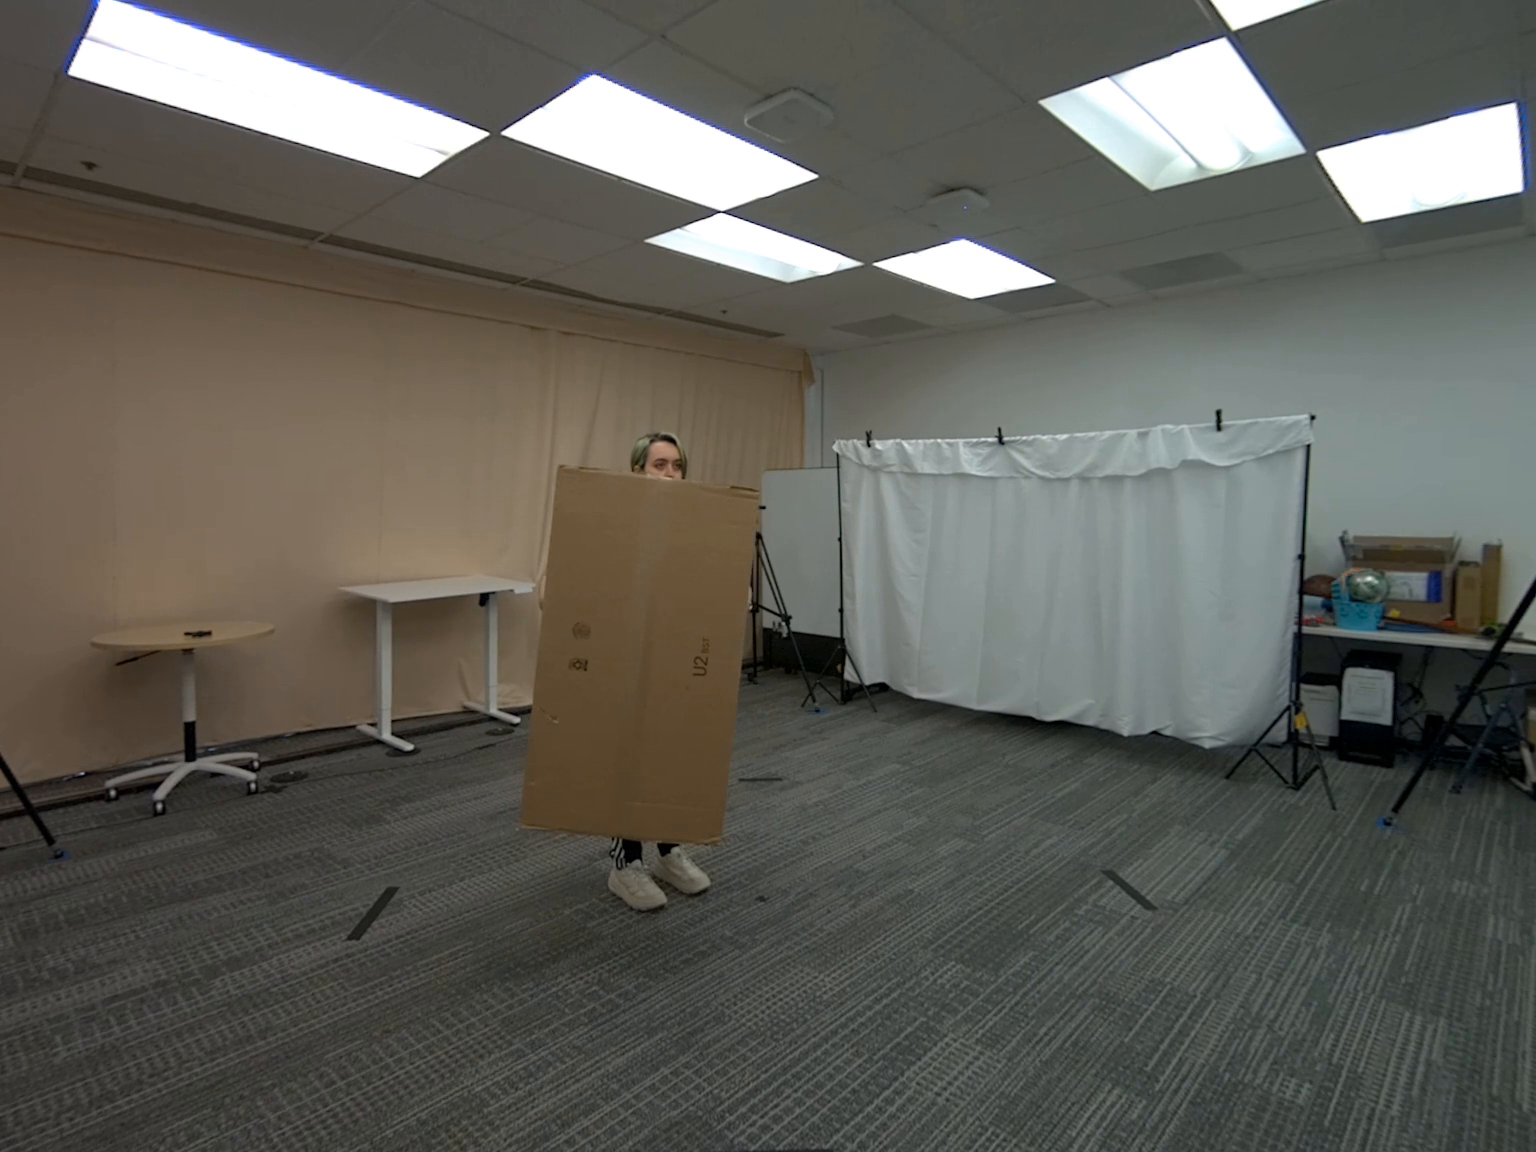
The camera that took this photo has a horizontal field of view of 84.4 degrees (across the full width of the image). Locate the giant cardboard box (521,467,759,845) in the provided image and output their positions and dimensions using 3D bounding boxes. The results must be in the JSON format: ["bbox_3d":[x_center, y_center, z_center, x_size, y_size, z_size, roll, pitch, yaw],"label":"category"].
[{"bbox_3d":[-0.382,0.221,2.560,0.573,1.025,0.430,7,1,-7],"label":"giant cardboard box"}]
